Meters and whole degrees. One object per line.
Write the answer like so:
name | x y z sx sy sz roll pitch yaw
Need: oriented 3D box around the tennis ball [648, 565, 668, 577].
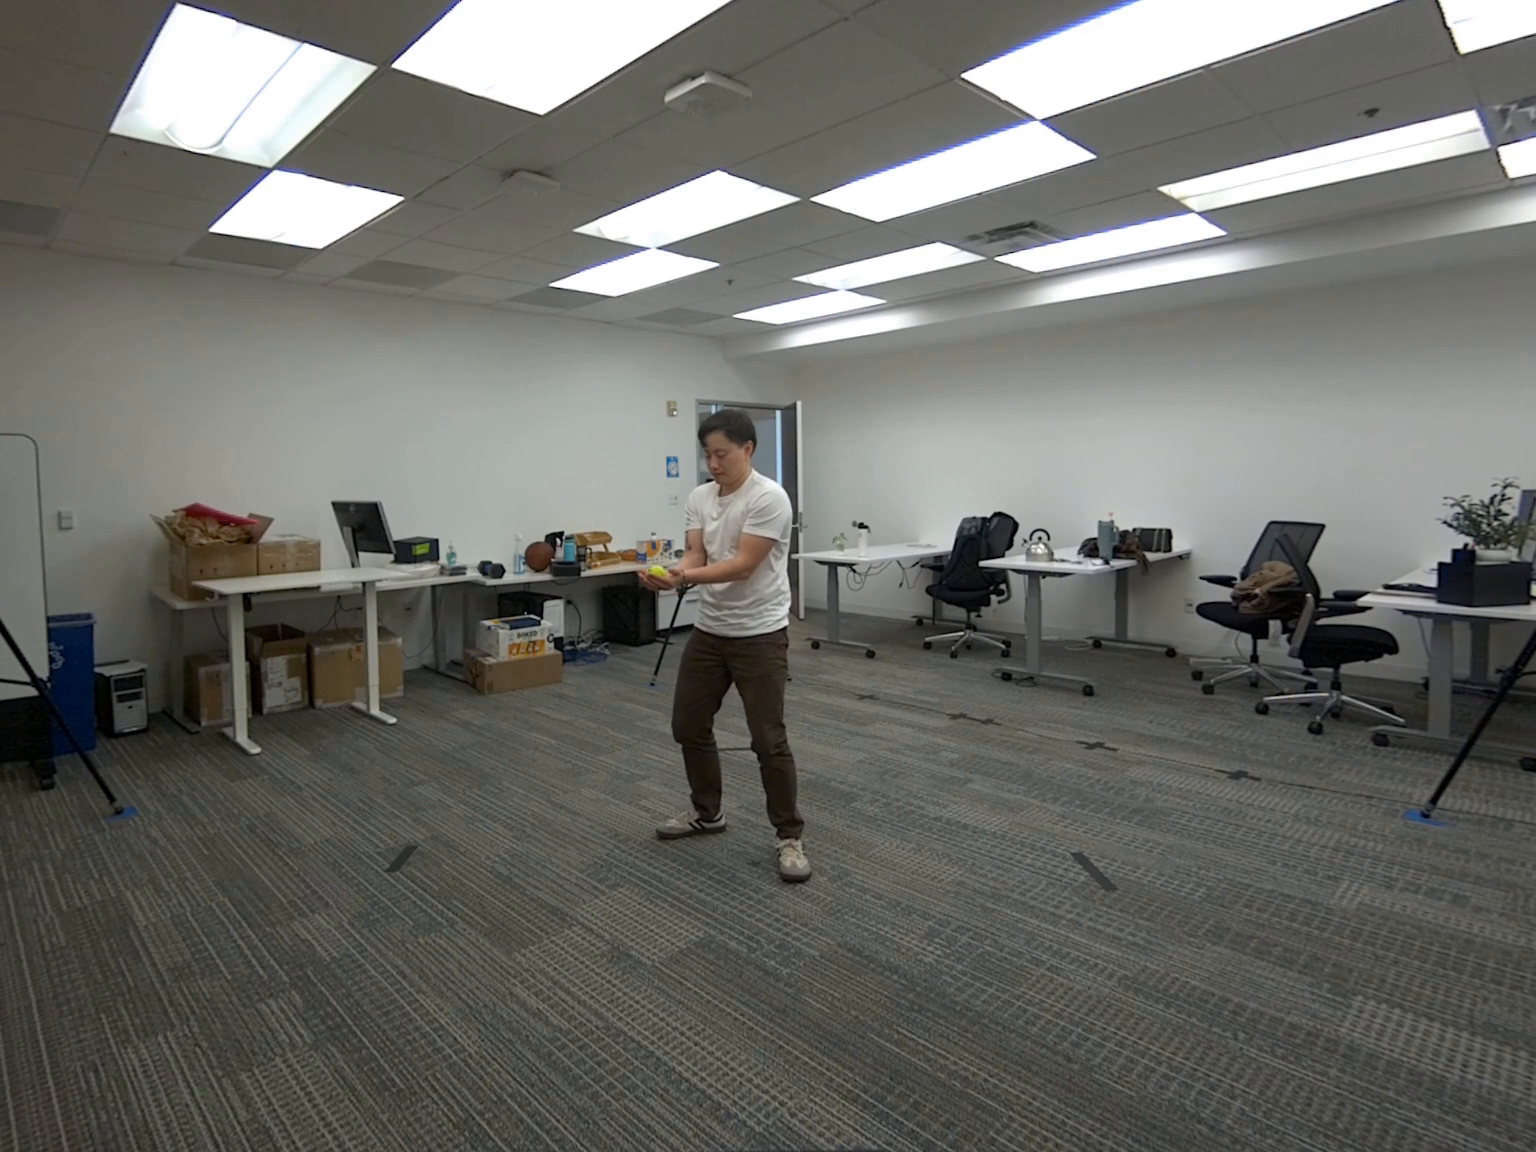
tennis ball | -0.374 -0.006 2.943 0.066 0.066 0.067 -1 5 -2
